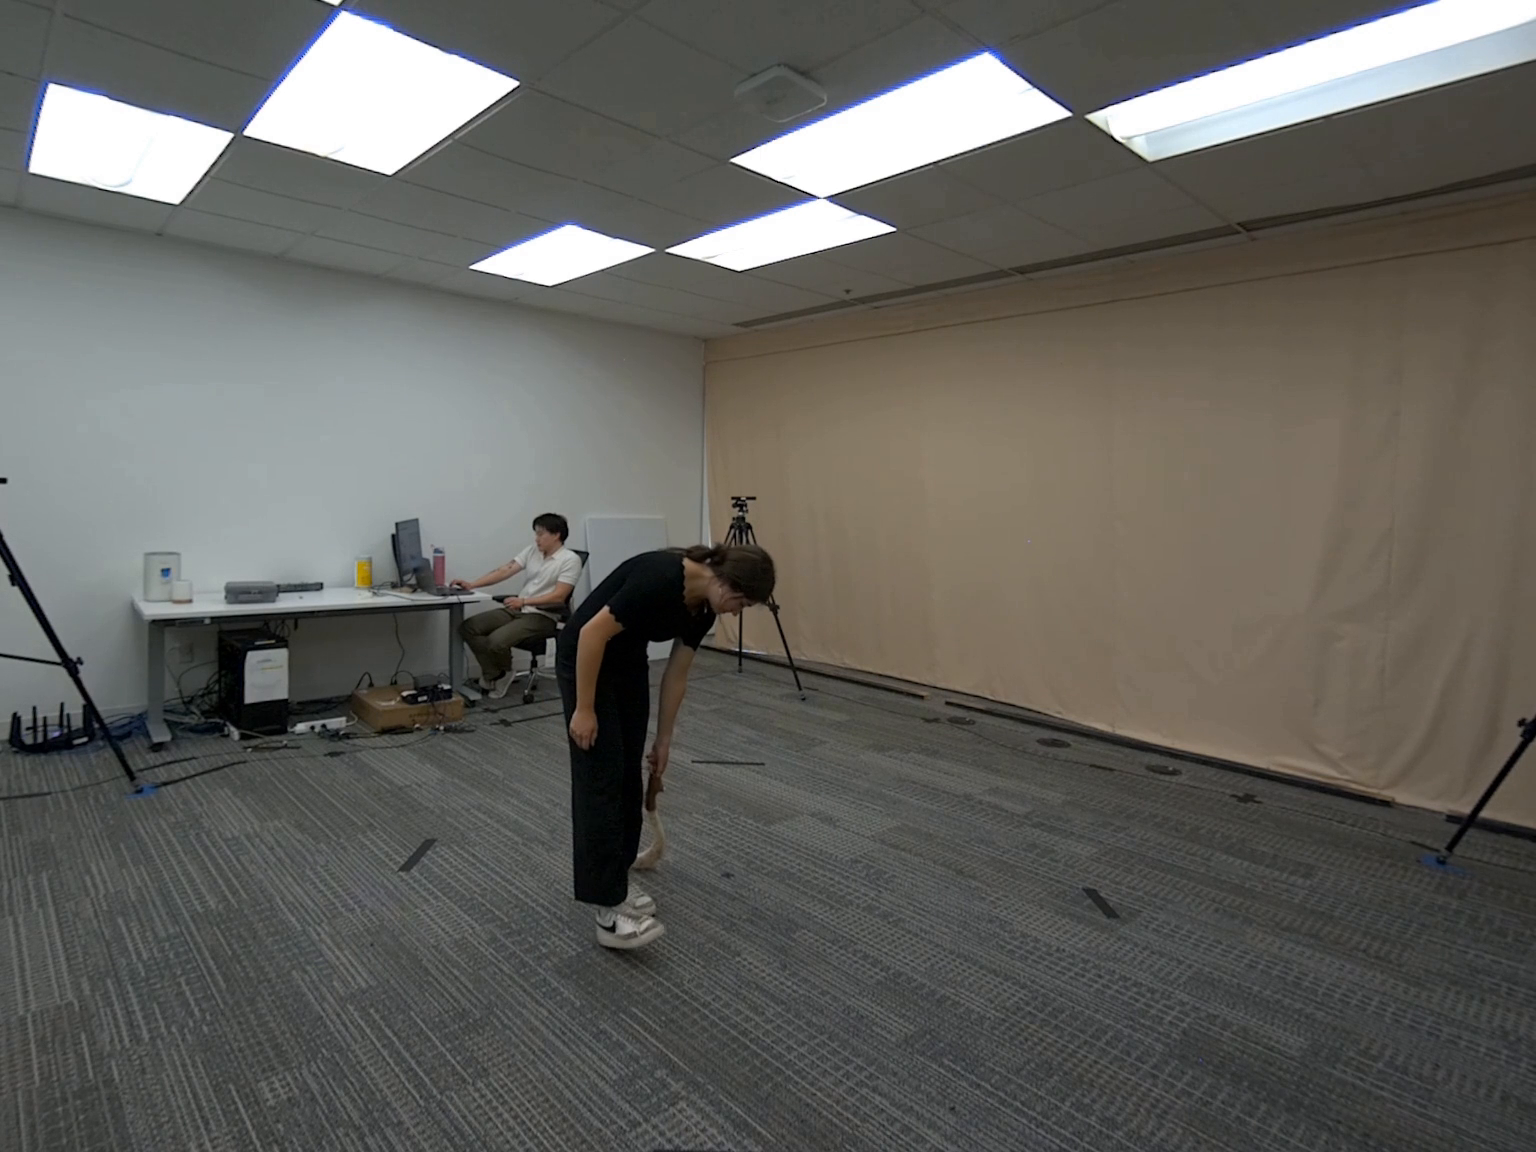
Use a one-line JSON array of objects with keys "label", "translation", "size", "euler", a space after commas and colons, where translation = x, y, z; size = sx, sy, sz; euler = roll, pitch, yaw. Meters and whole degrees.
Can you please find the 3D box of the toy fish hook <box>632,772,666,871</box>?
[{"label": "toy fish hook", "translation": [-0.479, 0.879, 3.024], "size": [0.222, 0.499, 0.049], "euler": [0, 28, -13]}]
